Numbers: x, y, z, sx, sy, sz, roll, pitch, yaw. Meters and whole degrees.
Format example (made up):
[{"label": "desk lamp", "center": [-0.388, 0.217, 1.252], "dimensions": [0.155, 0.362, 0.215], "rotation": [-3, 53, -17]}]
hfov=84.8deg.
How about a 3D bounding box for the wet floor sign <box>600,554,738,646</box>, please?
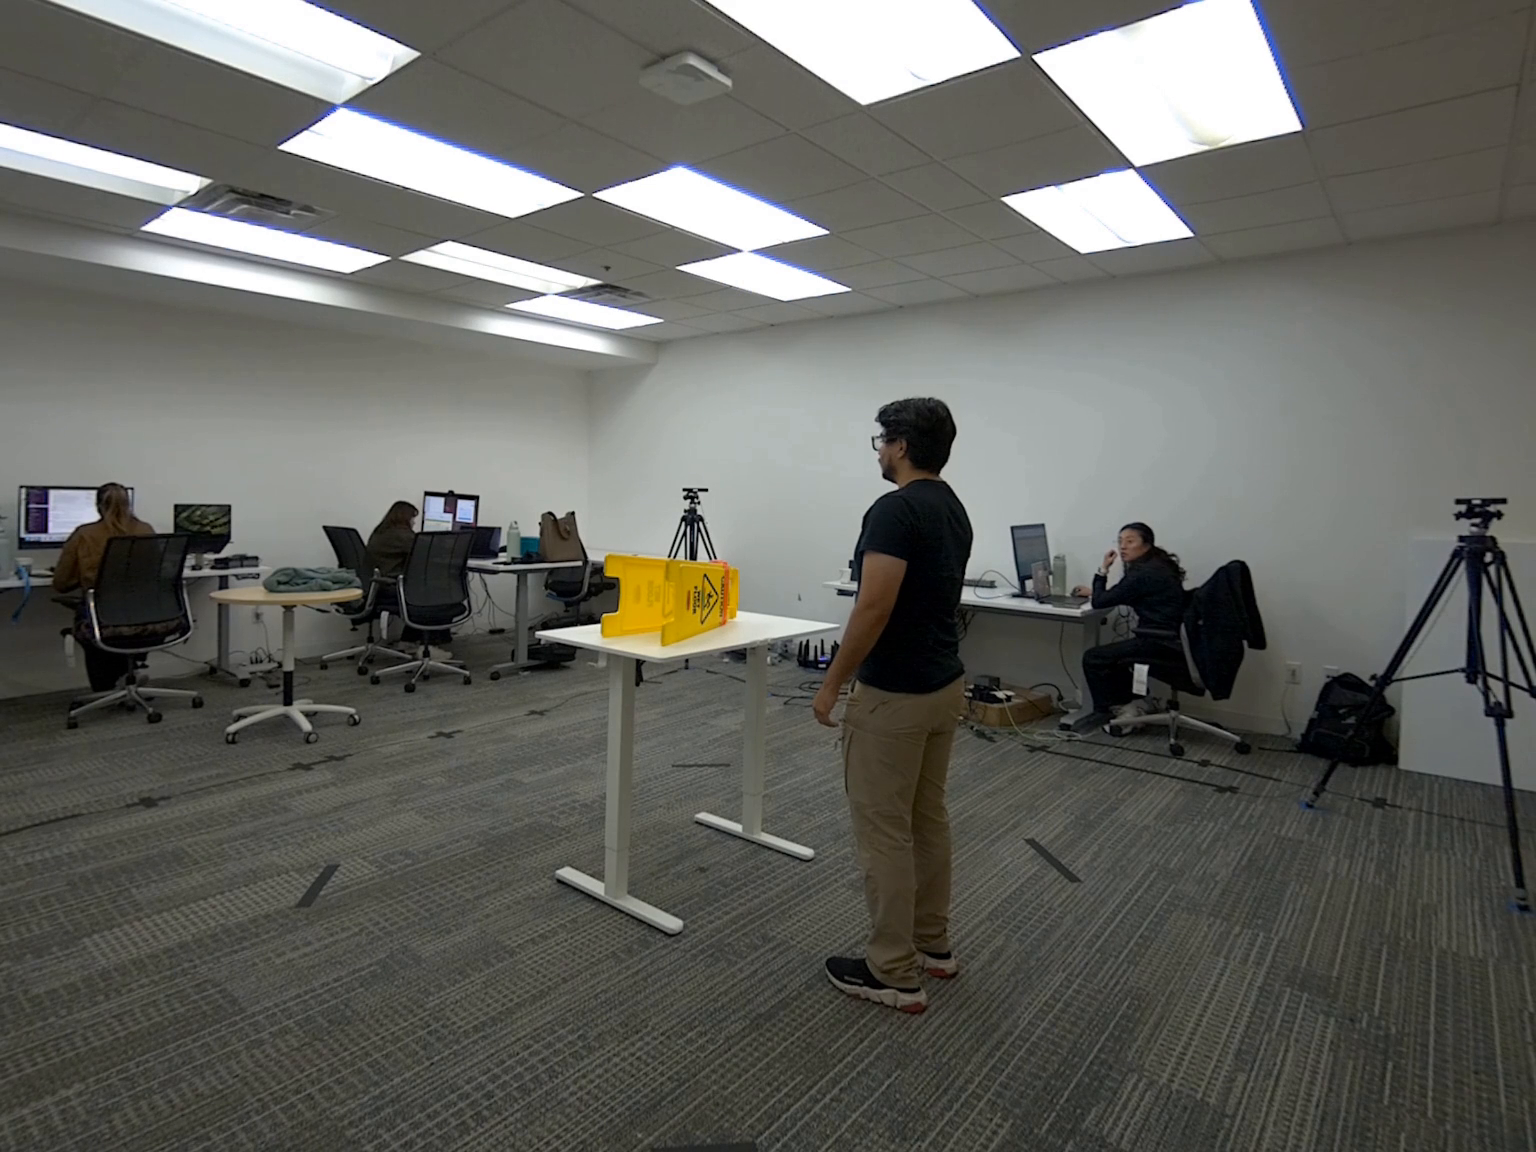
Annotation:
[{"label": "wet floor sign", "center": [-0.297, 0.070, 3.034], "dimensions": [0.298, 0.282, 0.628], "rotation": [4, 2, 29]}]
